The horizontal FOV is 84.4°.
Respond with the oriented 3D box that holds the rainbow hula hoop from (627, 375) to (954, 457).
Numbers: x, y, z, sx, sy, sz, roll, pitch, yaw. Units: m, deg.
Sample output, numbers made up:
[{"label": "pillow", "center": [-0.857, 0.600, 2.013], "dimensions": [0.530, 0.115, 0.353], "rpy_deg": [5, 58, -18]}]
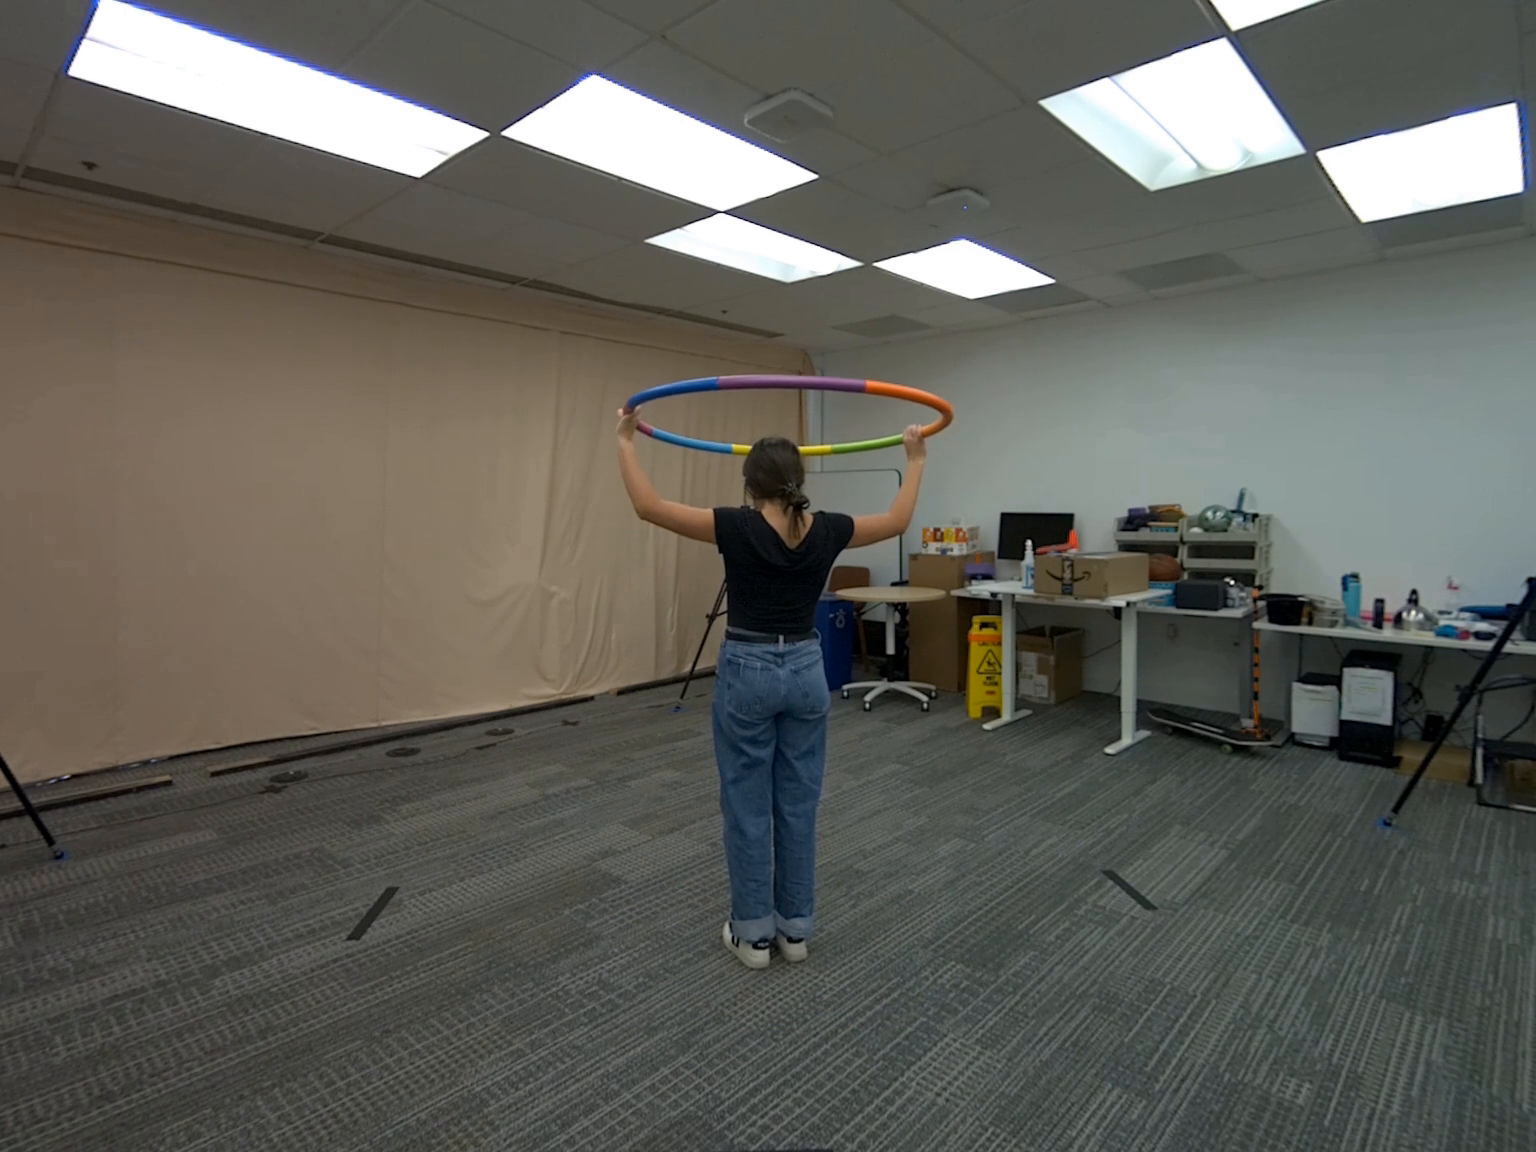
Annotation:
[{"label": "rainbow hula hoop", "center": [0.052, -0.469, 2.583], "dimensions": [0.978, 0.035, 0.978], "rpy_deg": [2, -2, -2]}]
